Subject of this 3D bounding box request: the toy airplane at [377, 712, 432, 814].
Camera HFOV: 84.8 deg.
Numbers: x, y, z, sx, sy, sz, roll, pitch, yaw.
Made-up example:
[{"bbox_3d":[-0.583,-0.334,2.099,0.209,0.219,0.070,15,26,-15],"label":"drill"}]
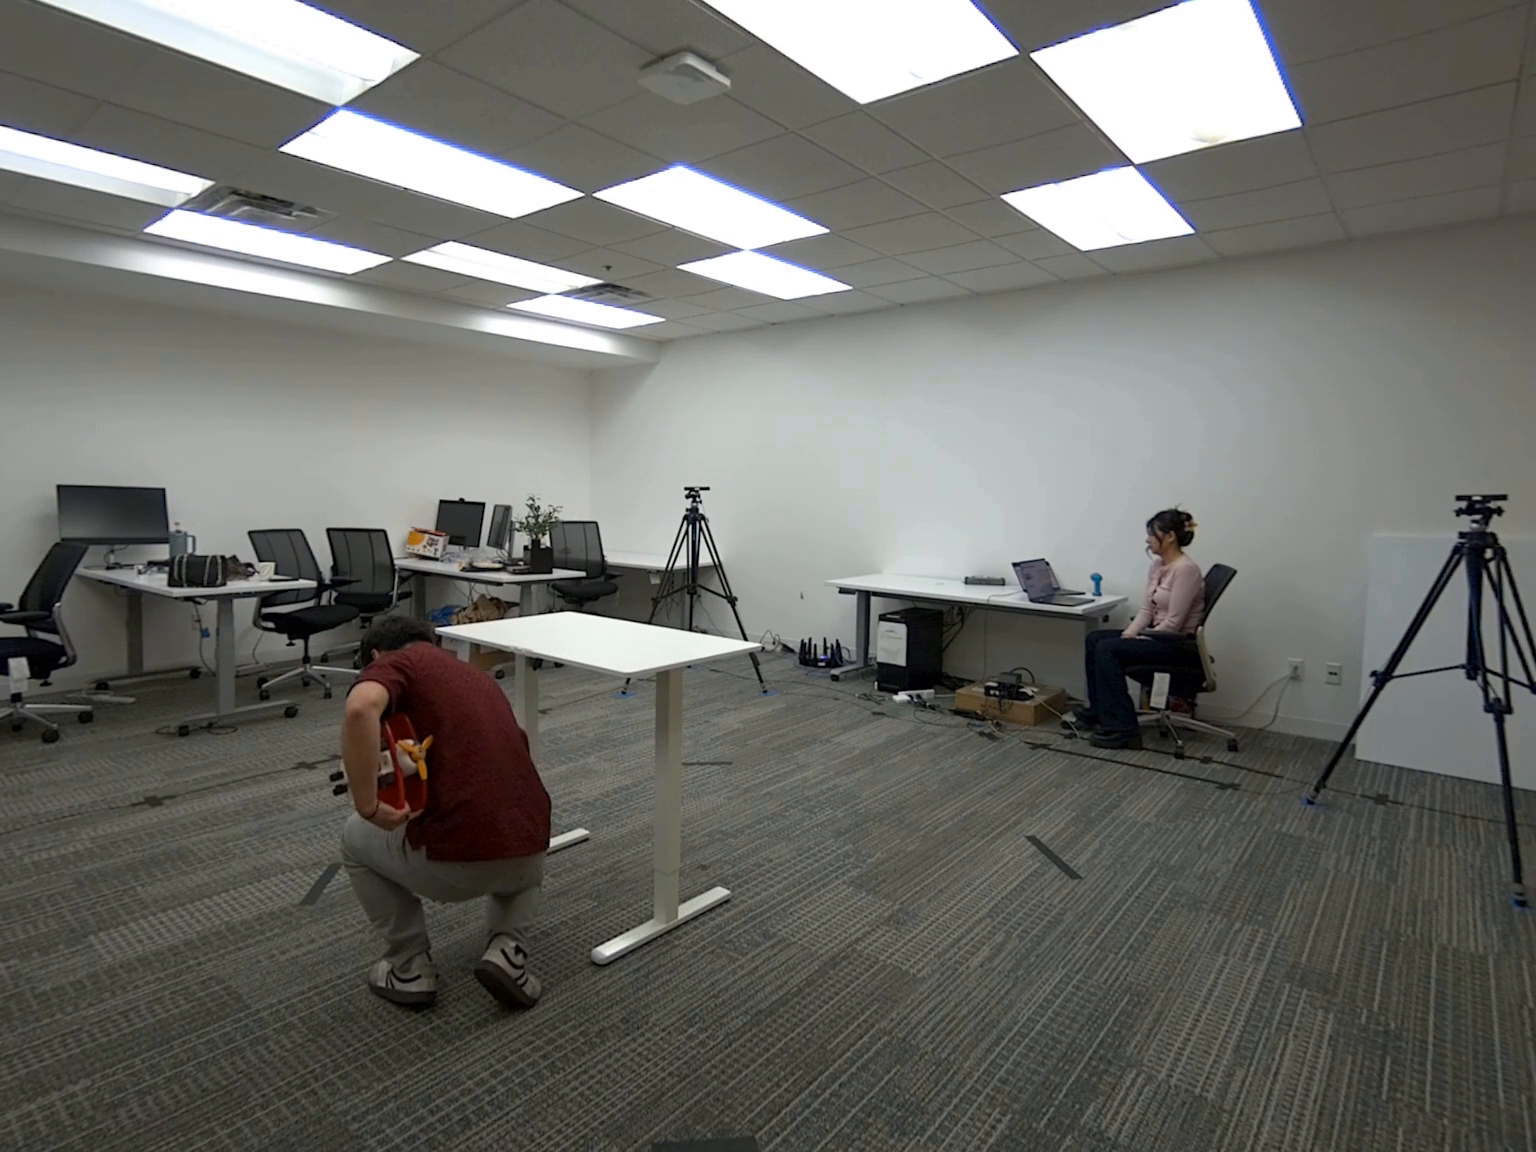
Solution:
[{"bbox_3d":[-0.984,0.454,2.129,0.267,0.251,0.152,5,2,33],"label":"toy airplane"}]
